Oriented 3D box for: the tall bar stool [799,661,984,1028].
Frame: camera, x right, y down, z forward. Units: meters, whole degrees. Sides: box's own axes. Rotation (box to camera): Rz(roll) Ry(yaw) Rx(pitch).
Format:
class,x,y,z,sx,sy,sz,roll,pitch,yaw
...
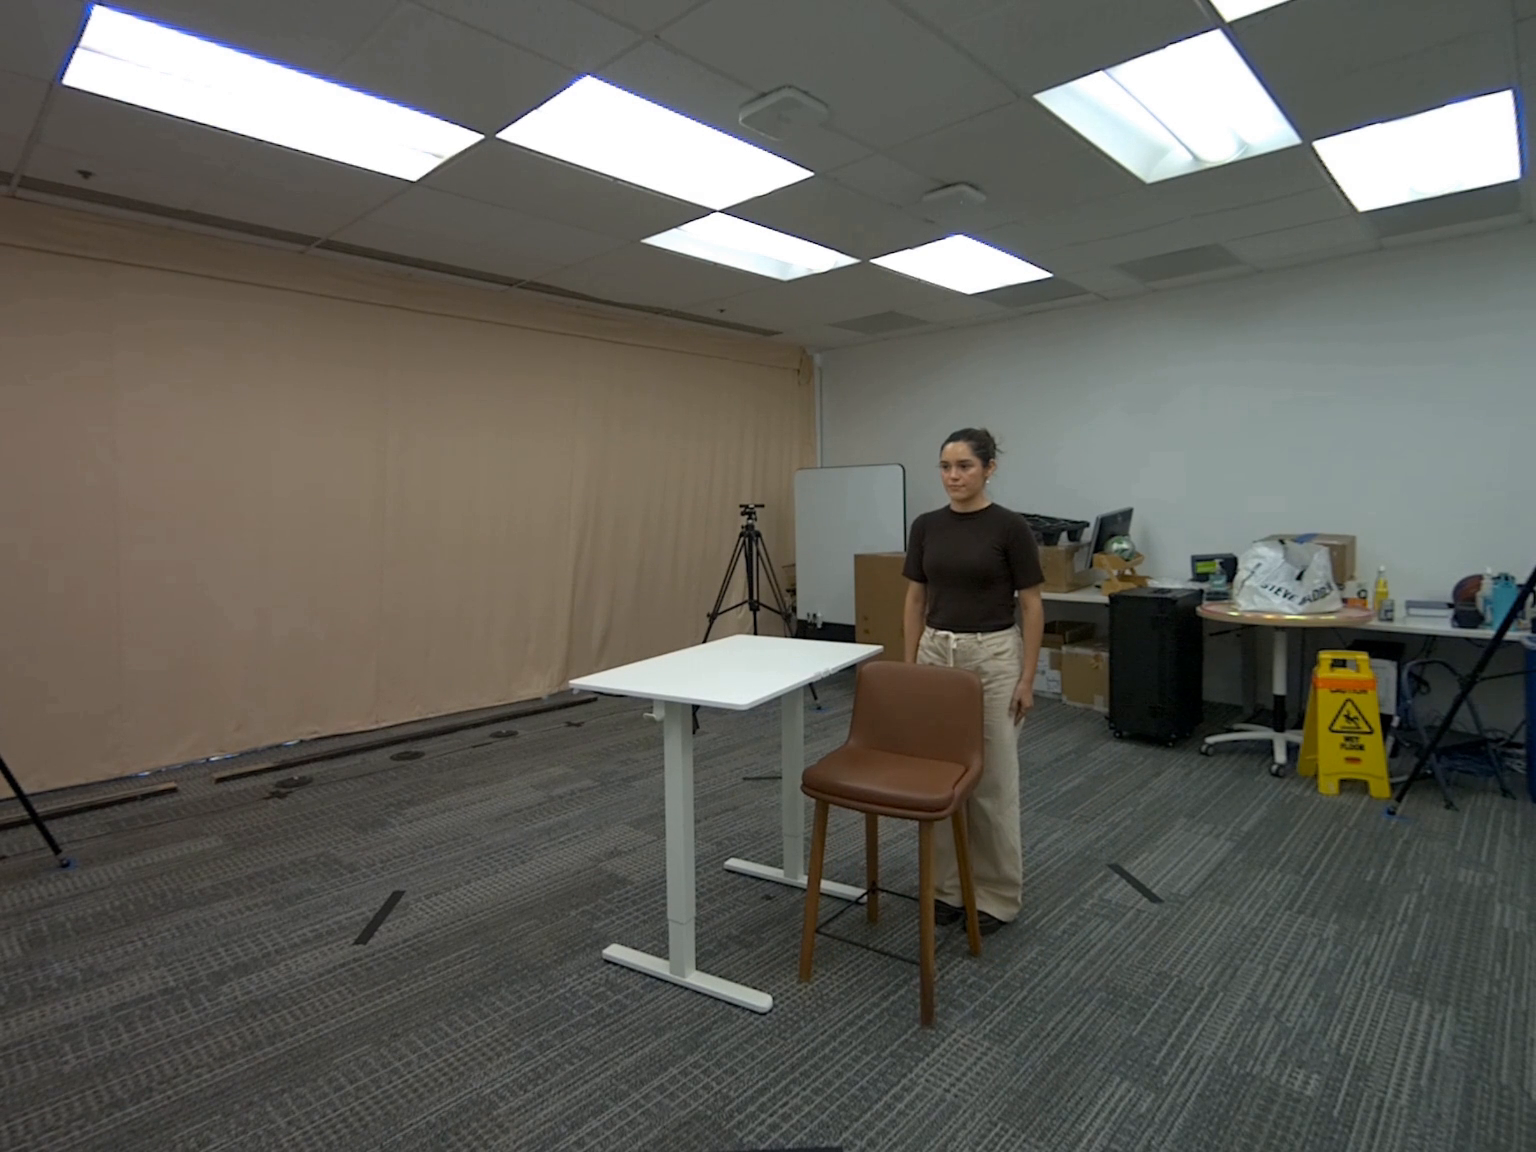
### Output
class,x,y,z,sx,sy,sz,roll,pitch,yaw
tall bar stool,0.387,0.741,2.502,0.471,0.888,0.454,3,3,35
